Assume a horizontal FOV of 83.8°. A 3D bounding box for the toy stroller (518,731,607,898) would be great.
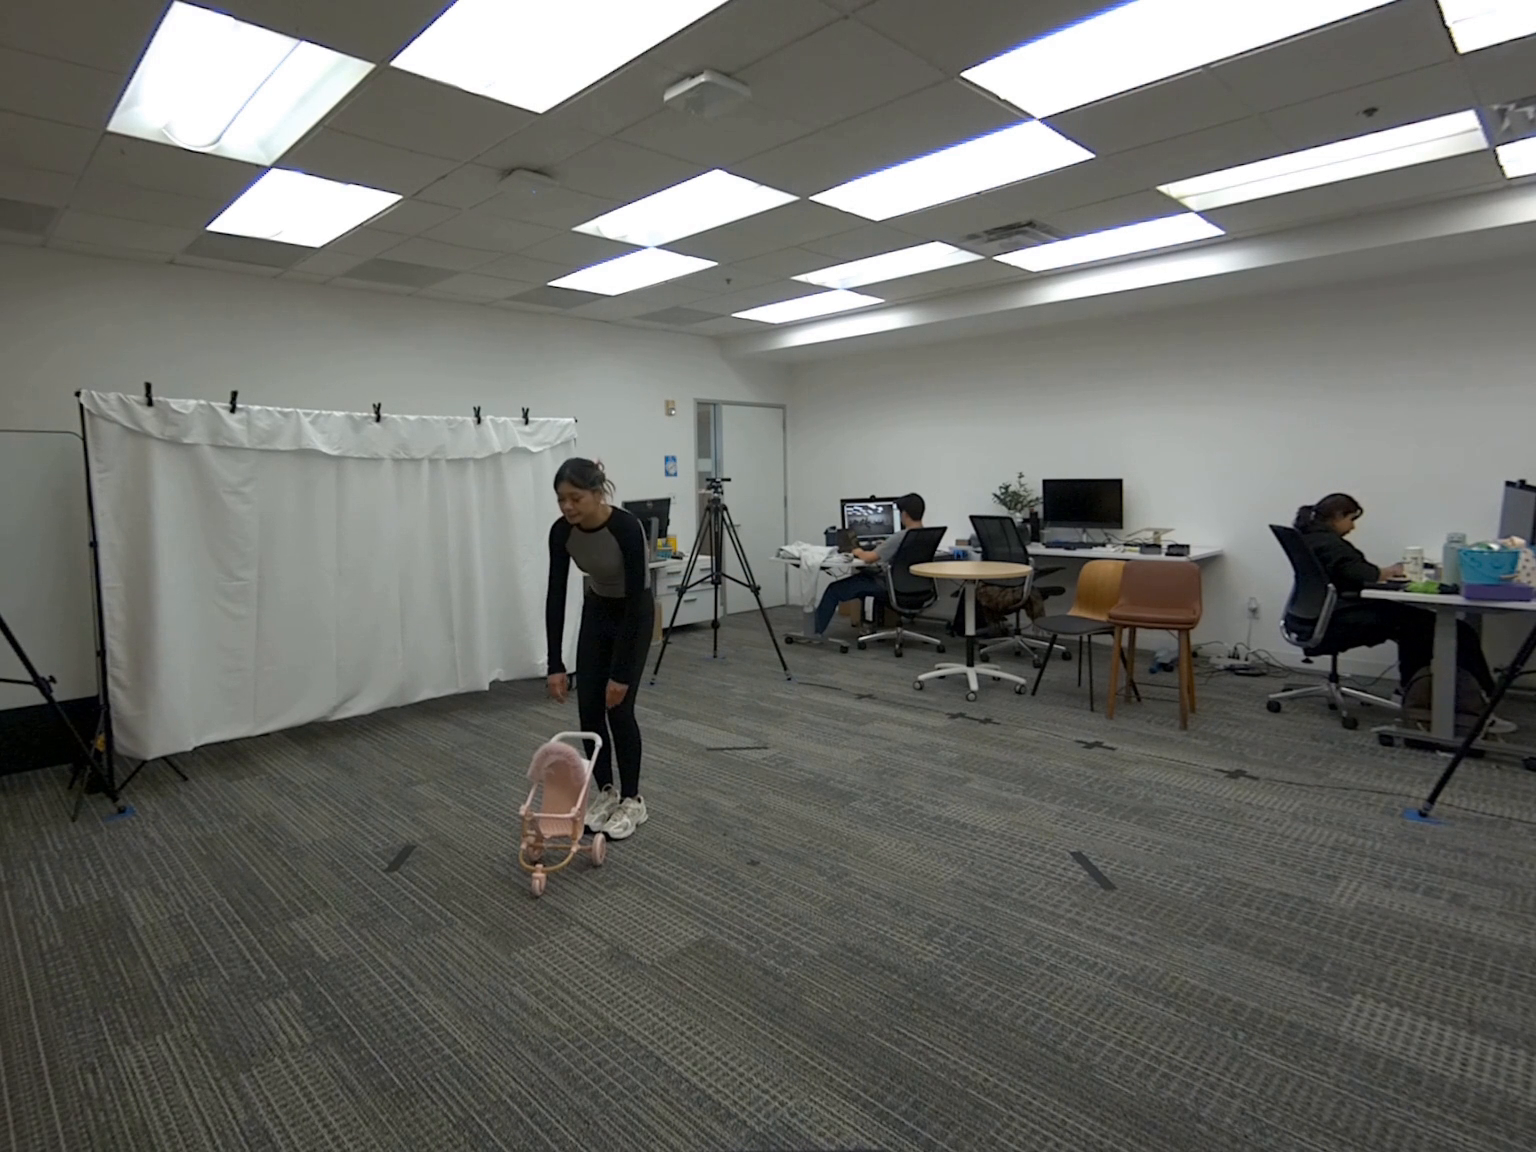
[{"bbox_3d":[-0.760,0.842,3.064,0.285,0.540,0.334,-1,-10,14],"label":"toy stroller"}]
